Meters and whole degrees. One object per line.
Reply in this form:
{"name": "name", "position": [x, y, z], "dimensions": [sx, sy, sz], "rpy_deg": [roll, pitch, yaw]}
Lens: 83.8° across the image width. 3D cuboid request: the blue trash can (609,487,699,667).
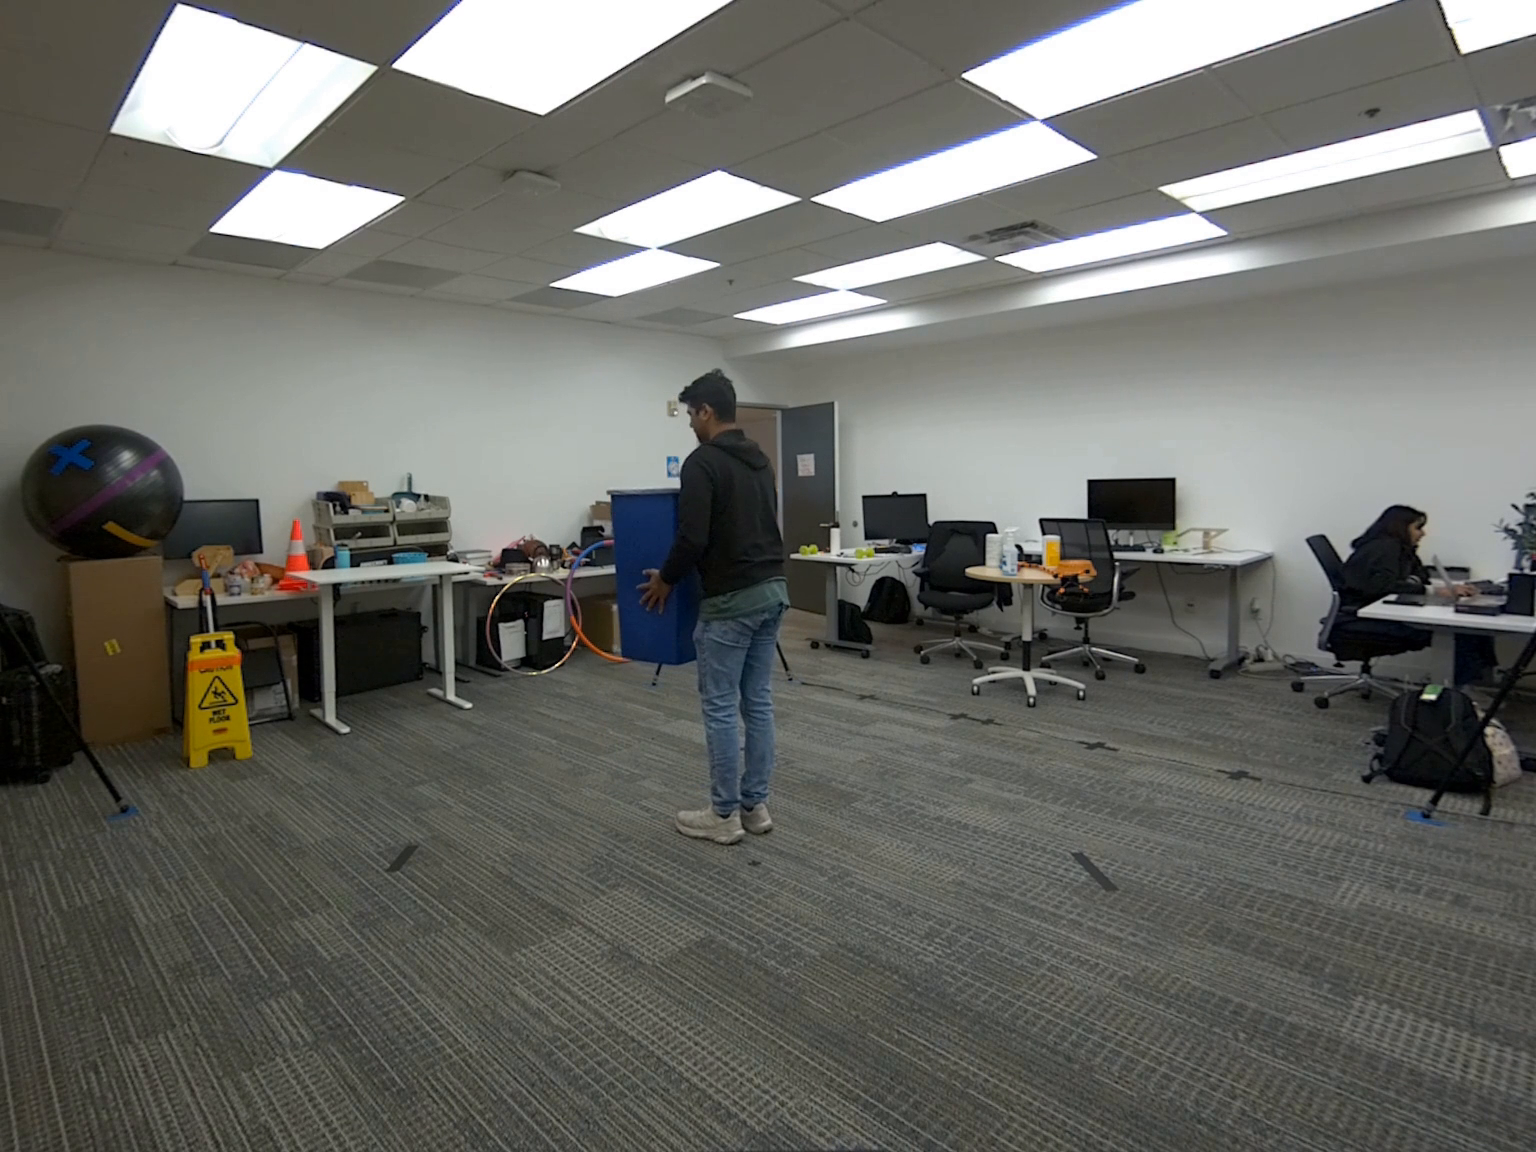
{"name": "blue trash can", "position": [-0.433, -0.016, 3.612], "dimensions": [0.384, 0.711, 0.369], "rpy_deg": [2, 5, 31]}
